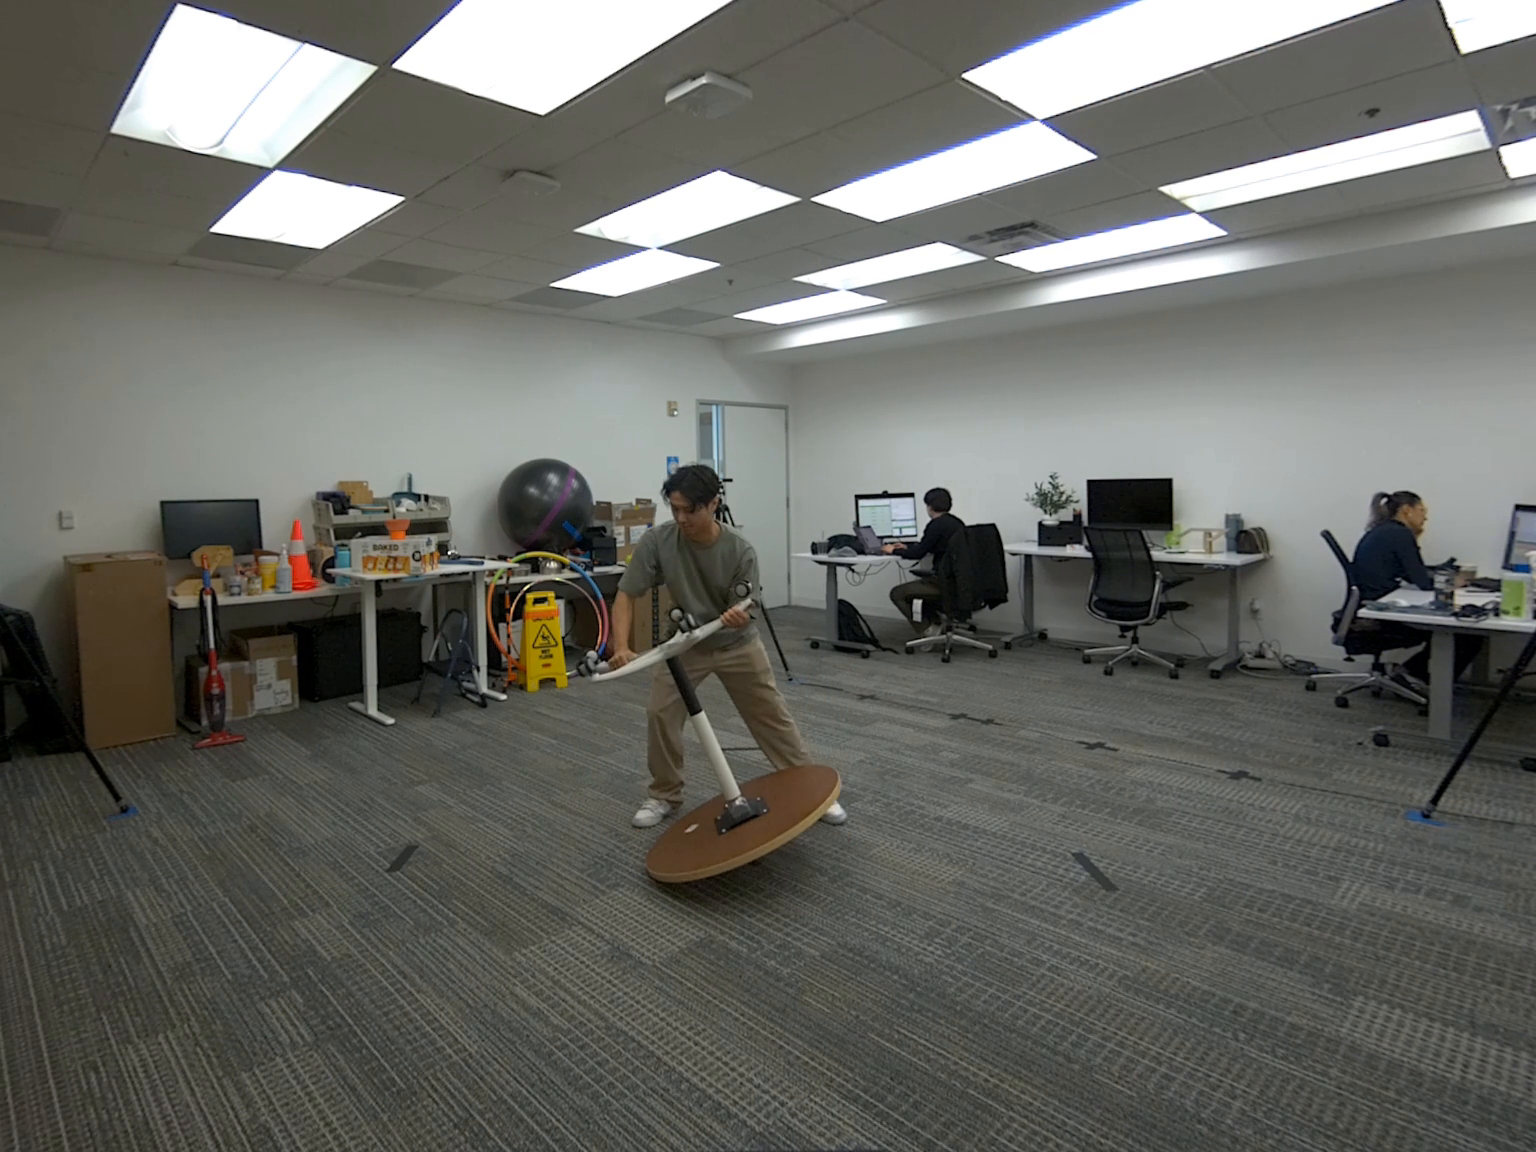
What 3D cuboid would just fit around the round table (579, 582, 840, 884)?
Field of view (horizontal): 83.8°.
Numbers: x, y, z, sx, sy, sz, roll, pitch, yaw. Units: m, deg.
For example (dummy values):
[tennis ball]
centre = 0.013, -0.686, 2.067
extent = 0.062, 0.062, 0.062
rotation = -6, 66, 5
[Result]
[round table]
centre = -0.240, 0.541, 3.104
extent = 0.785, 0.786, 0.786
rotation = -24, 2, -1
